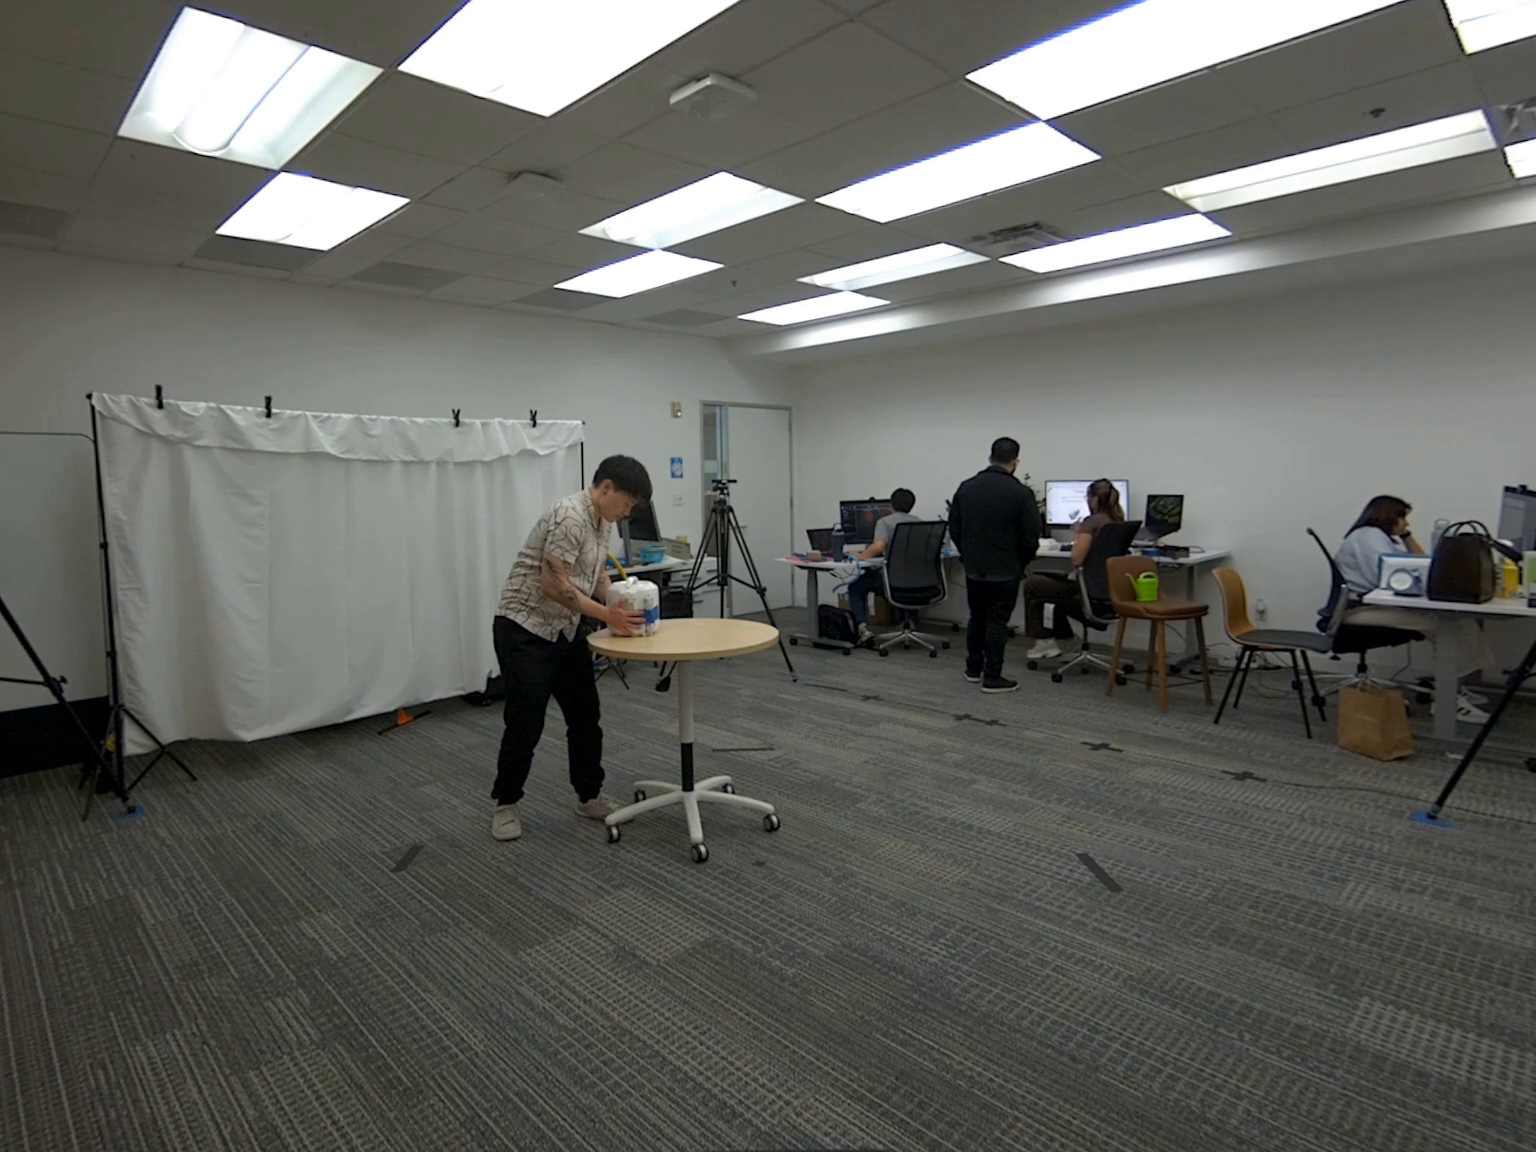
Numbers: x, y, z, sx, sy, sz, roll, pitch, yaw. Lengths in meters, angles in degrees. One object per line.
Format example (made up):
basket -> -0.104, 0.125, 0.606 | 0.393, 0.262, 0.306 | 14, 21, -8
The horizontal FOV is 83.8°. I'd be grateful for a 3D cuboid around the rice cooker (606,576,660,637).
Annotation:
rice cooker -> -0.553, 0.118, 3.482 | 0.218, 0.232, 0.220 | -1, 4, 4
